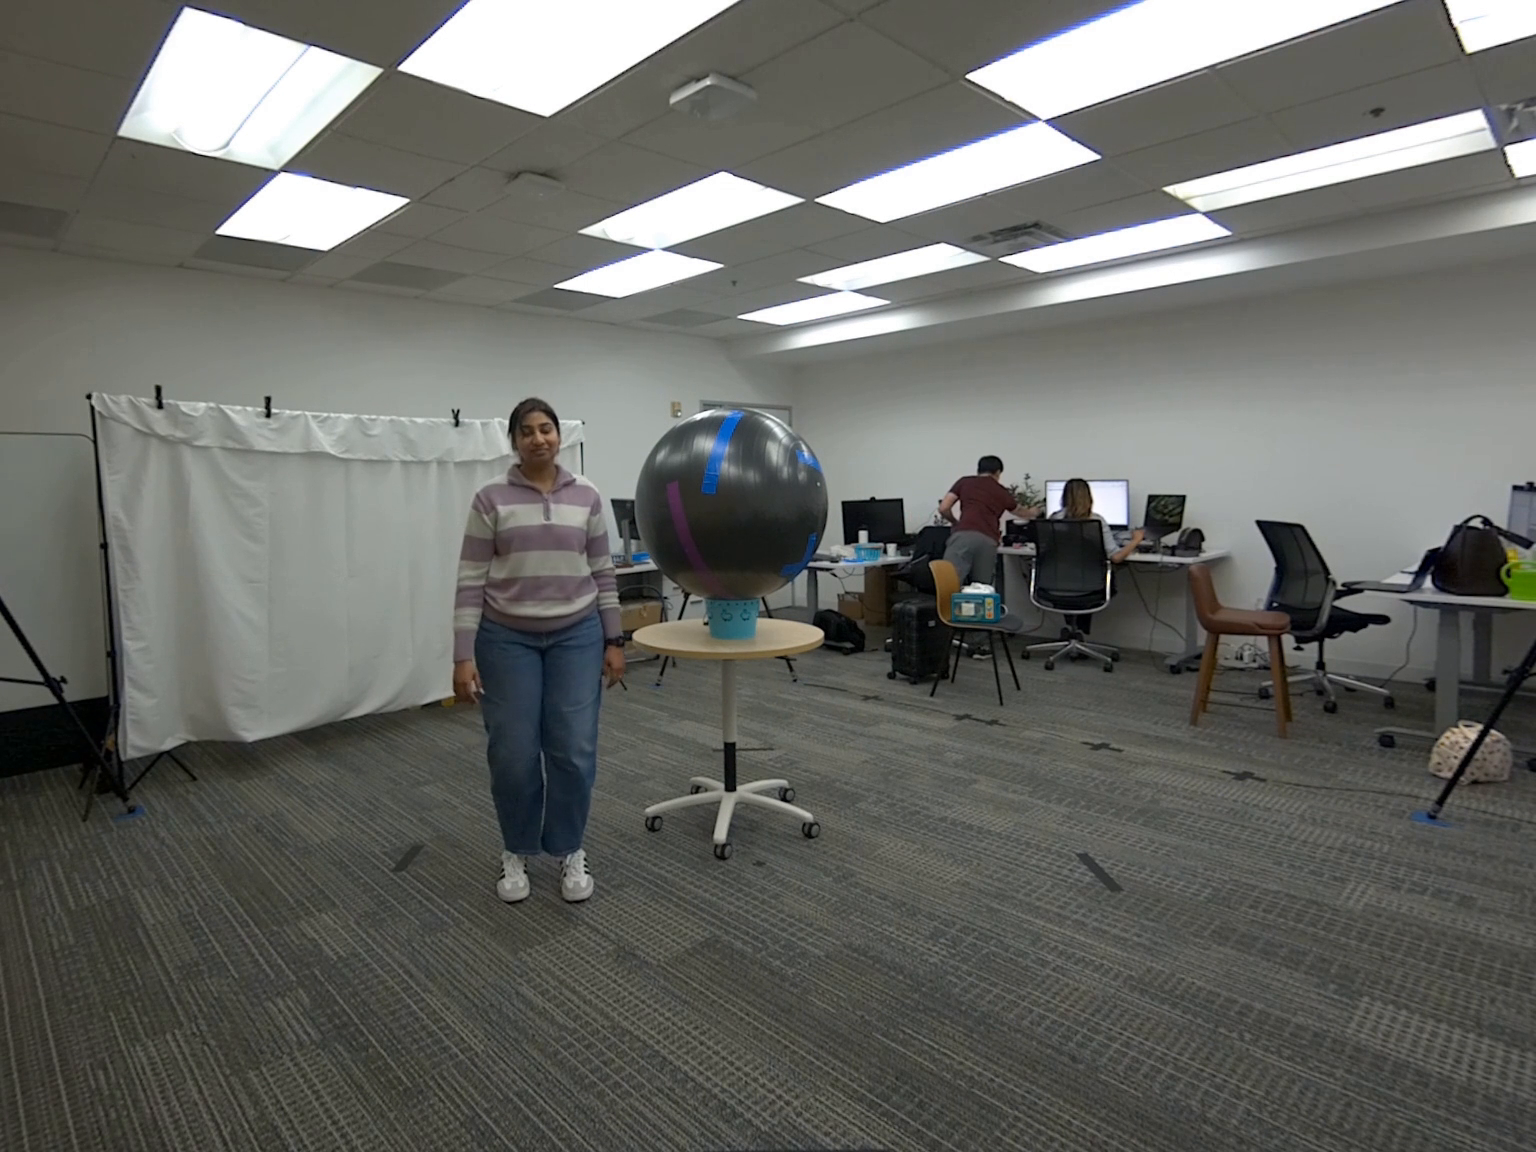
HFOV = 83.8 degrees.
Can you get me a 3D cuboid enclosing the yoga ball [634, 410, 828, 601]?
[{"bbox_3d":[-0.151,-0.275,3.360,0.757,0.755,0.762,-1,5,-2],"label":"yoga ball"}]
